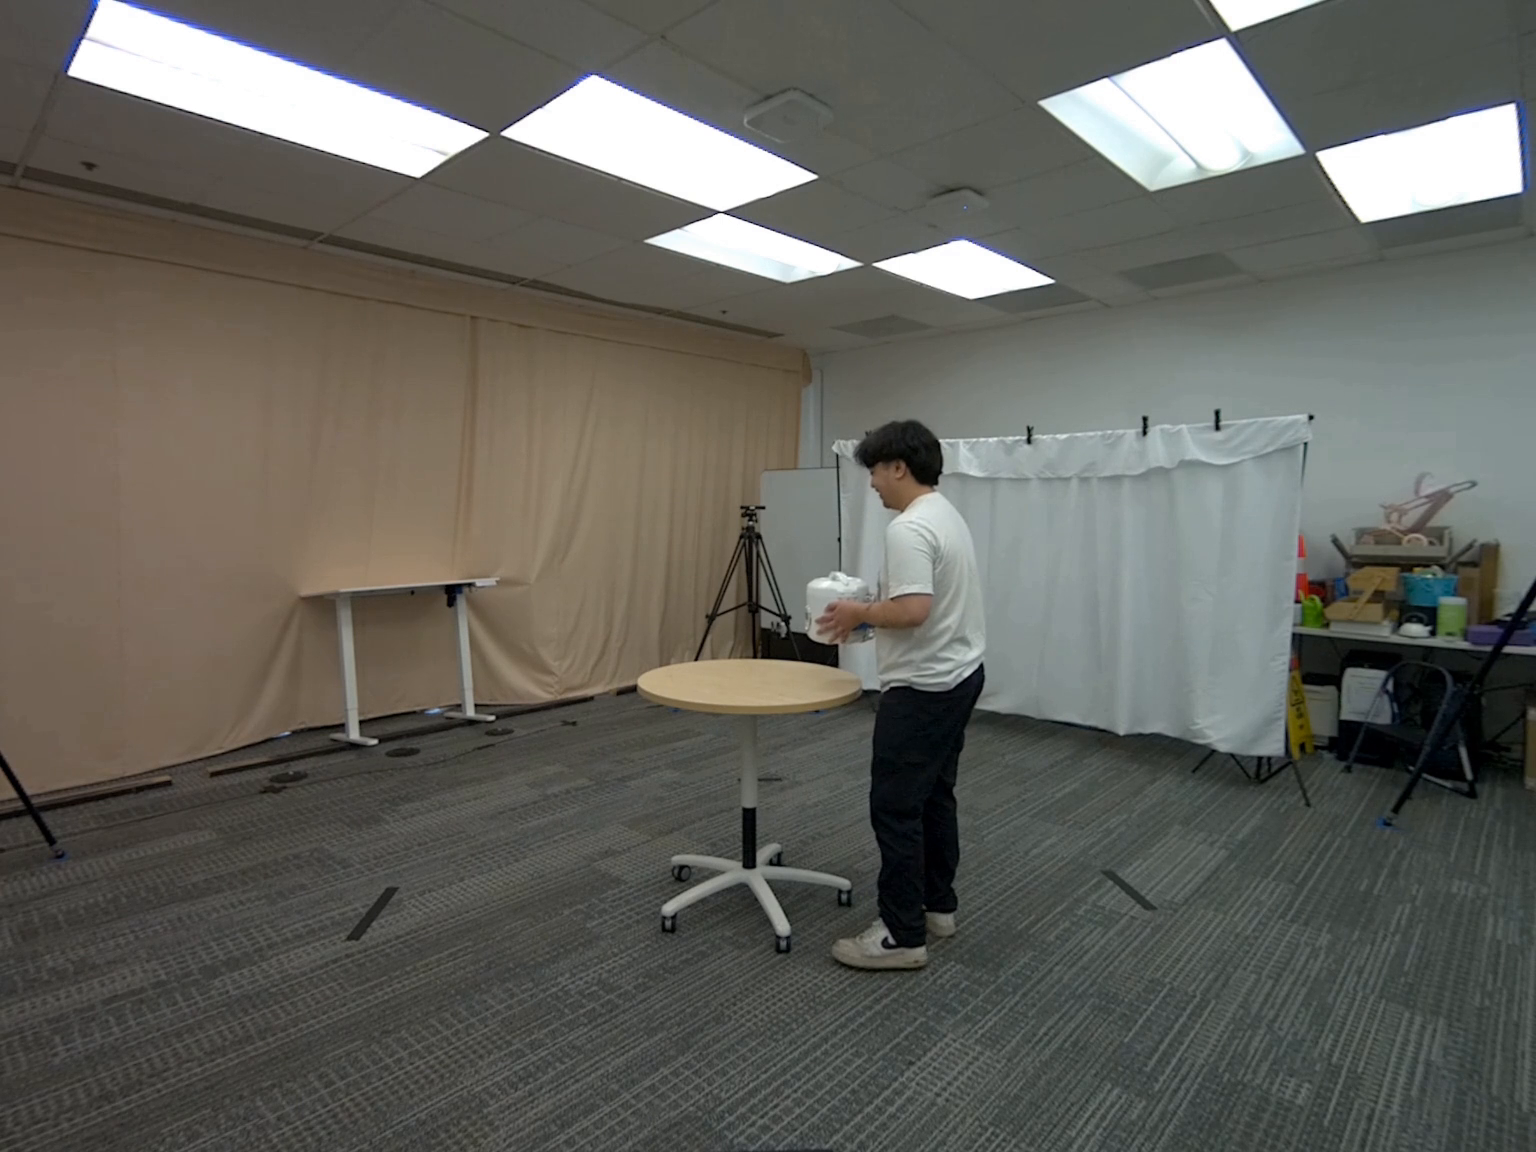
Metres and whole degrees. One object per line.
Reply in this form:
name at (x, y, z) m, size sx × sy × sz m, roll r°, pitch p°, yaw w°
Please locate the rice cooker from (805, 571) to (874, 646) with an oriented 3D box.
rice cooker at (0.238, 0.104, 2.829) m, size 0.215 × 0.232 × 0.223 m, roll -1°, pitch 4°, yaw -11°
